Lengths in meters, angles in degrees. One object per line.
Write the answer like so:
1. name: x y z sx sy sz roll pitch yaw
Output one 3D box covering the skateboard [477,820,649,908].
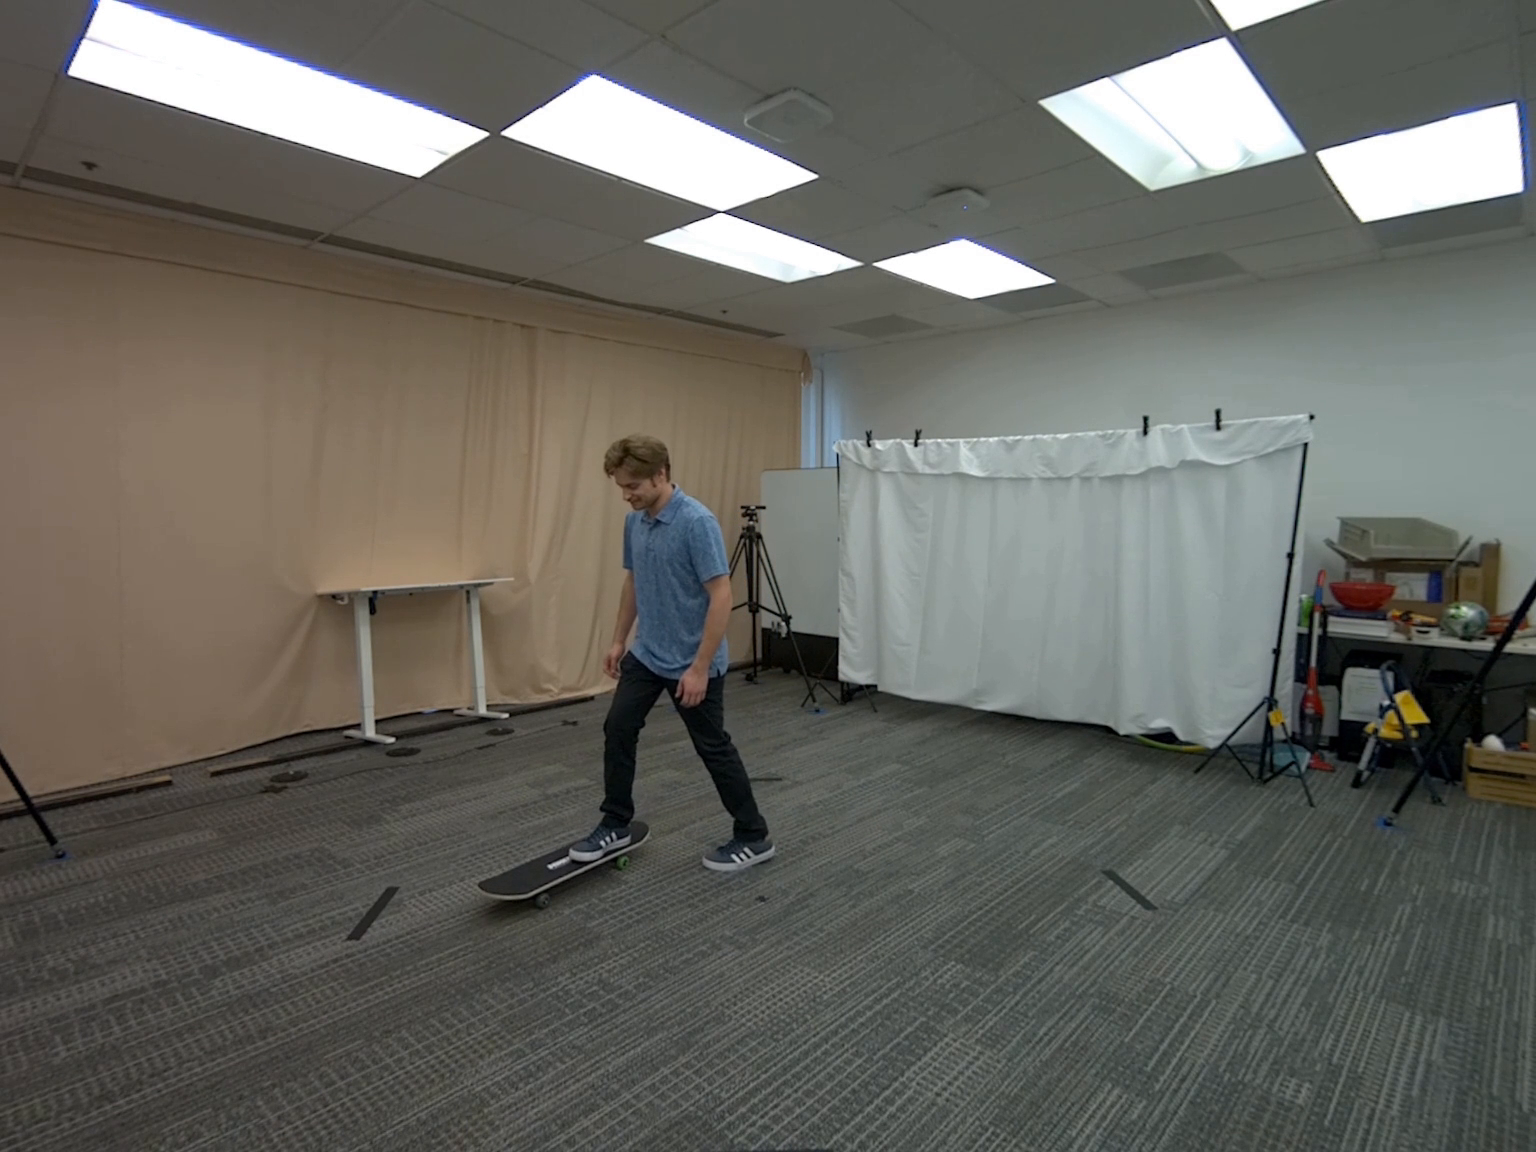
1. skateboard: -0.731 1.079 3.127 0.200 0.110 0.762 4 6 36
